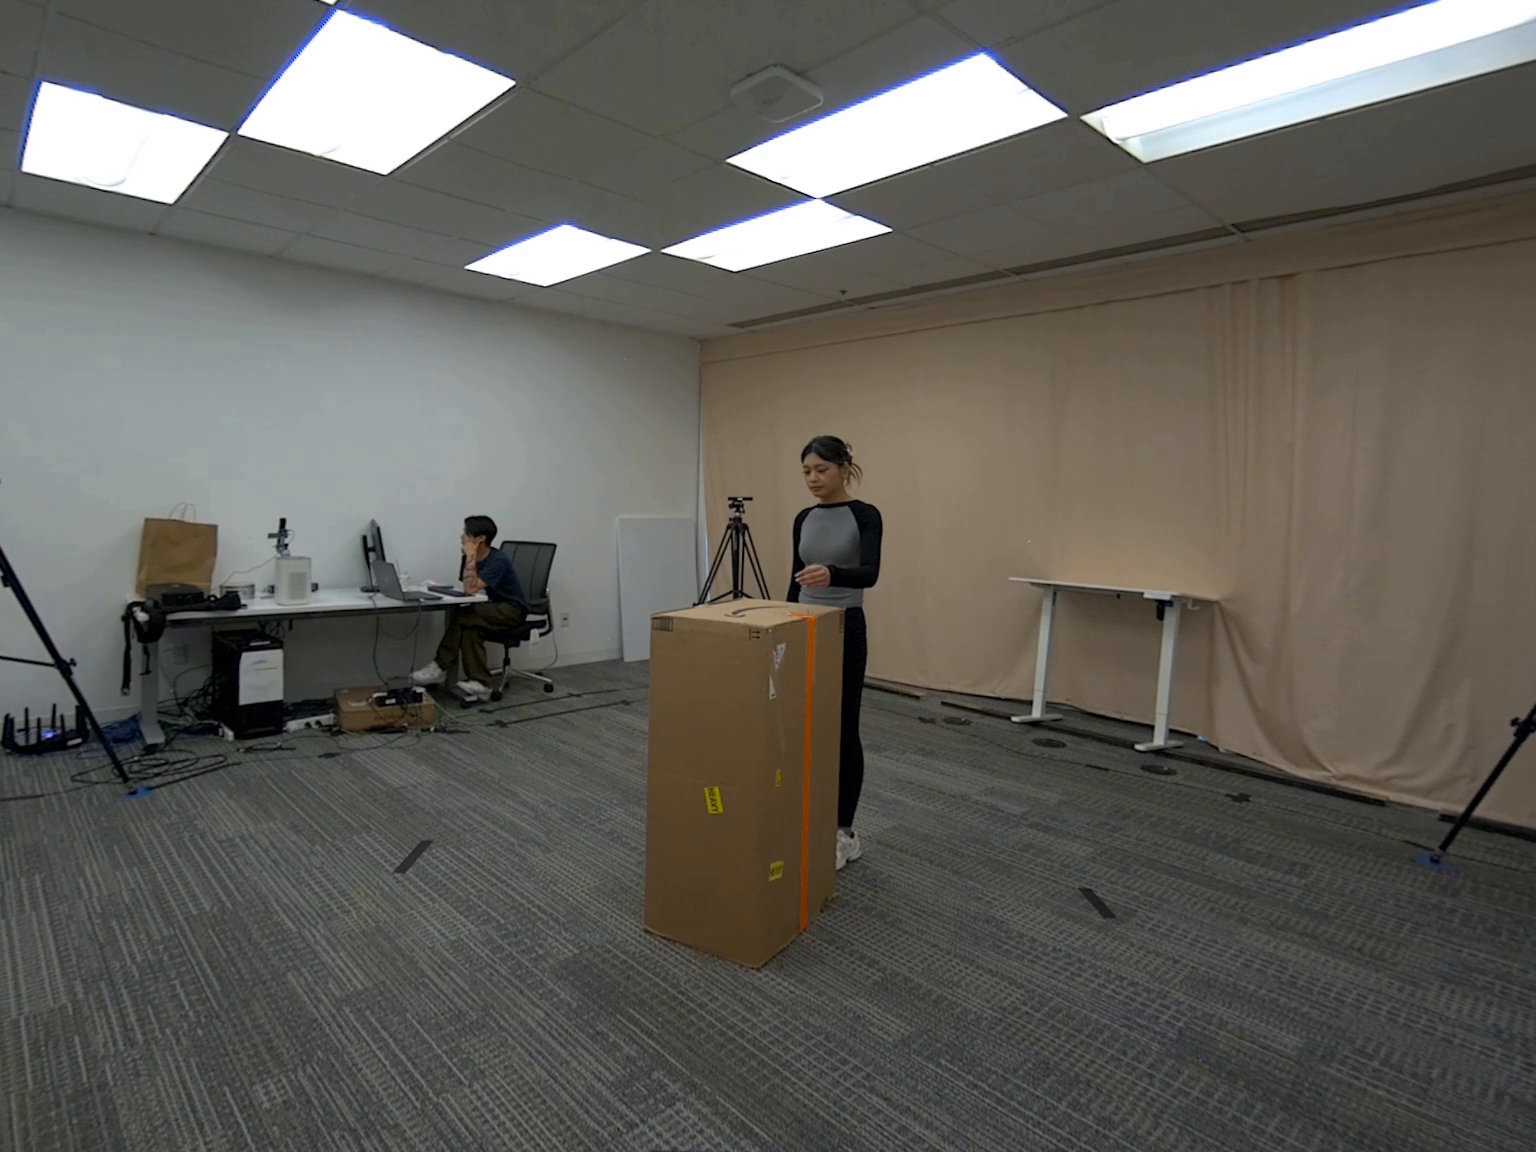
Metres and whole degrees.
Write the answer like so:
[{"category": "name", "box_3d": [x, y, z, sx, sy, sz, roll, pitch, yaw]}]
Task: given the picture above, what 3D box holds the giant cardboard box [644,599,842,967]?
[{"category": "giant cardboard box", "box_3d": [-0.070, 0.630, 2.805, 0.456, 1.025, 0.573, 2, 3, 29]}]
